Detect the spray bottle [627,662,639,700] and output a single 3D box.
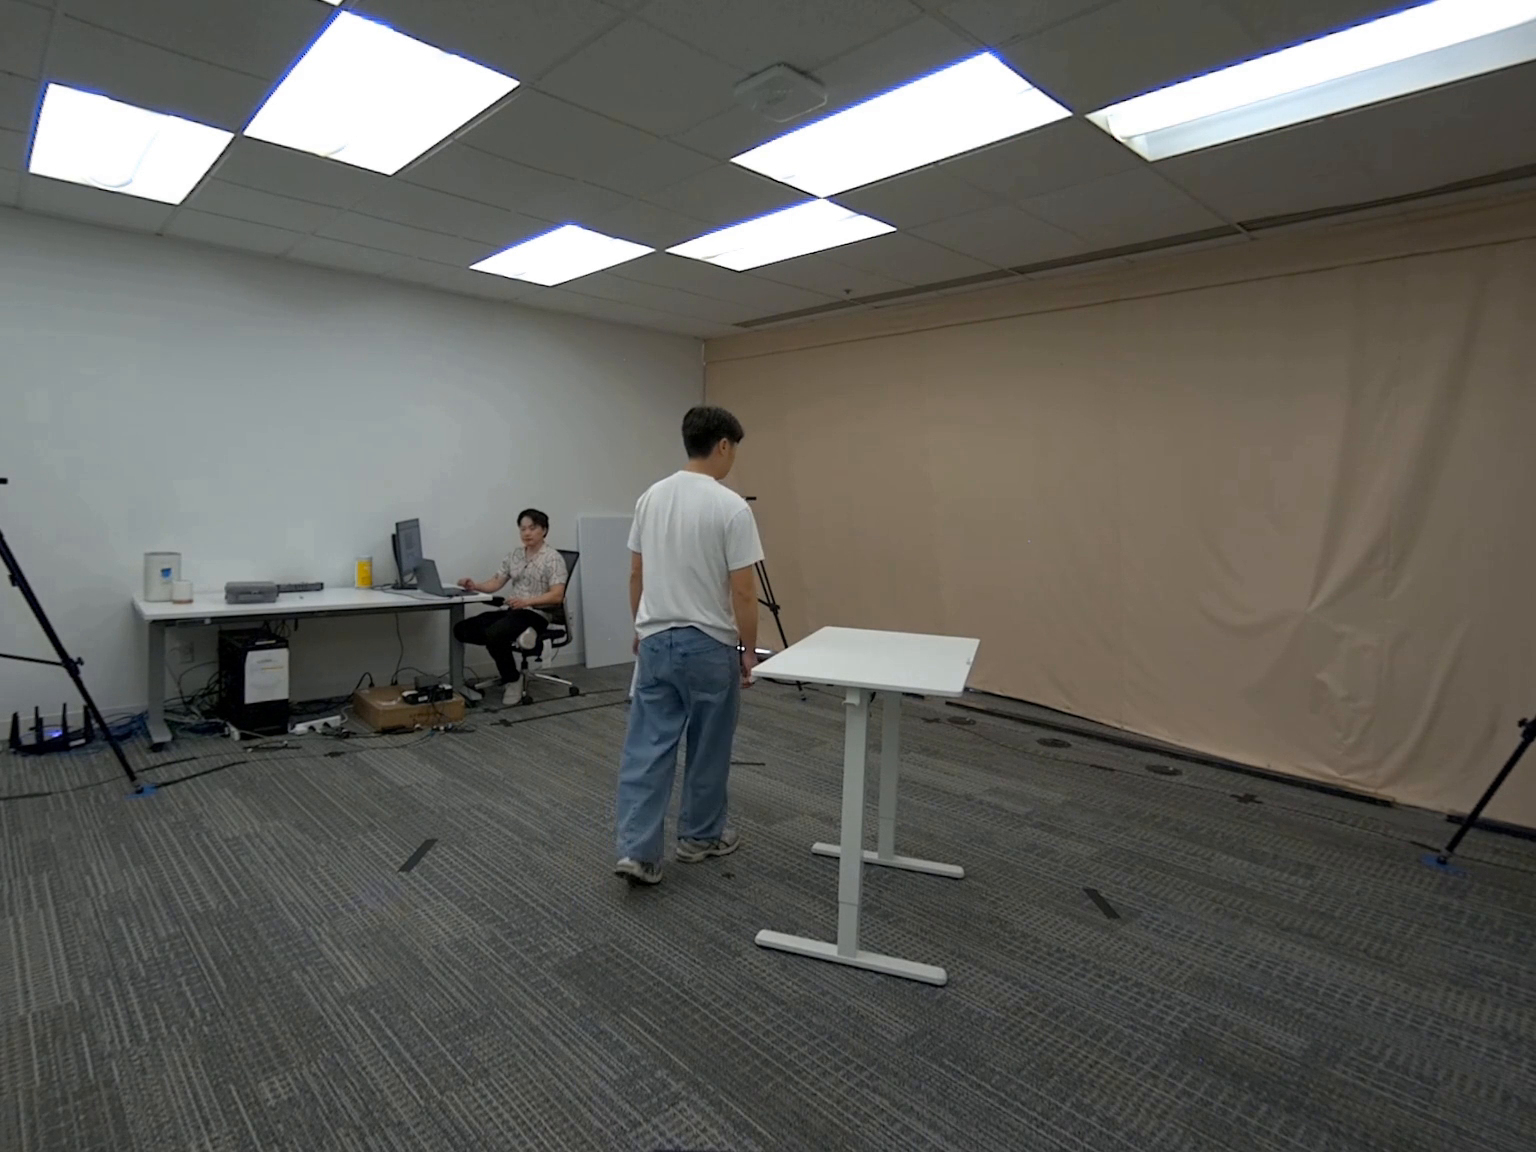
[{"bbox_3d":[-0.490,0.359,3.374,0.087,0.299,0.089,10,-12,7],"label":"spray bottle"}]
